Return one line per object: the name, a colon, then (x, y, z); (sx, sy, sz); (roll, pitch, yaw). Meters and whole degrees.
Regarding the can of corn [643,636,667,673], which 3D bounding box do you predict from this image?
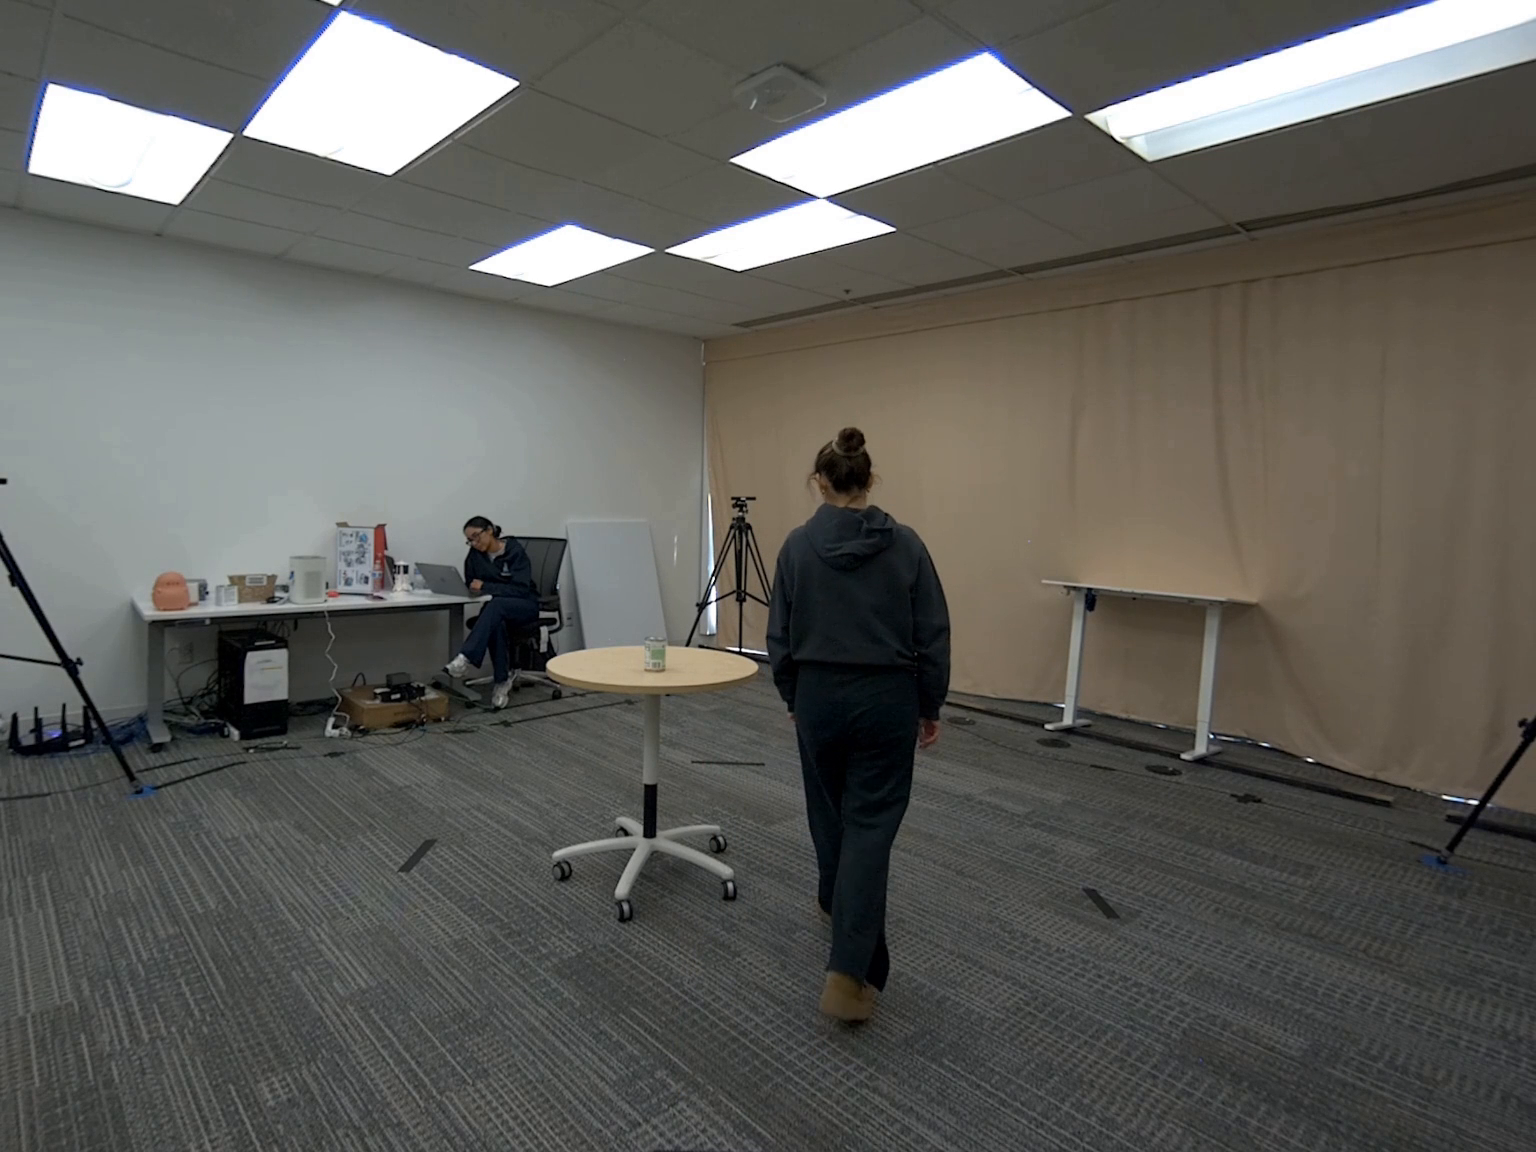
can of corn: (-0.409, 0.275, 2.947); (0.074, 0.111, 0.074); (0, 2, -1)
